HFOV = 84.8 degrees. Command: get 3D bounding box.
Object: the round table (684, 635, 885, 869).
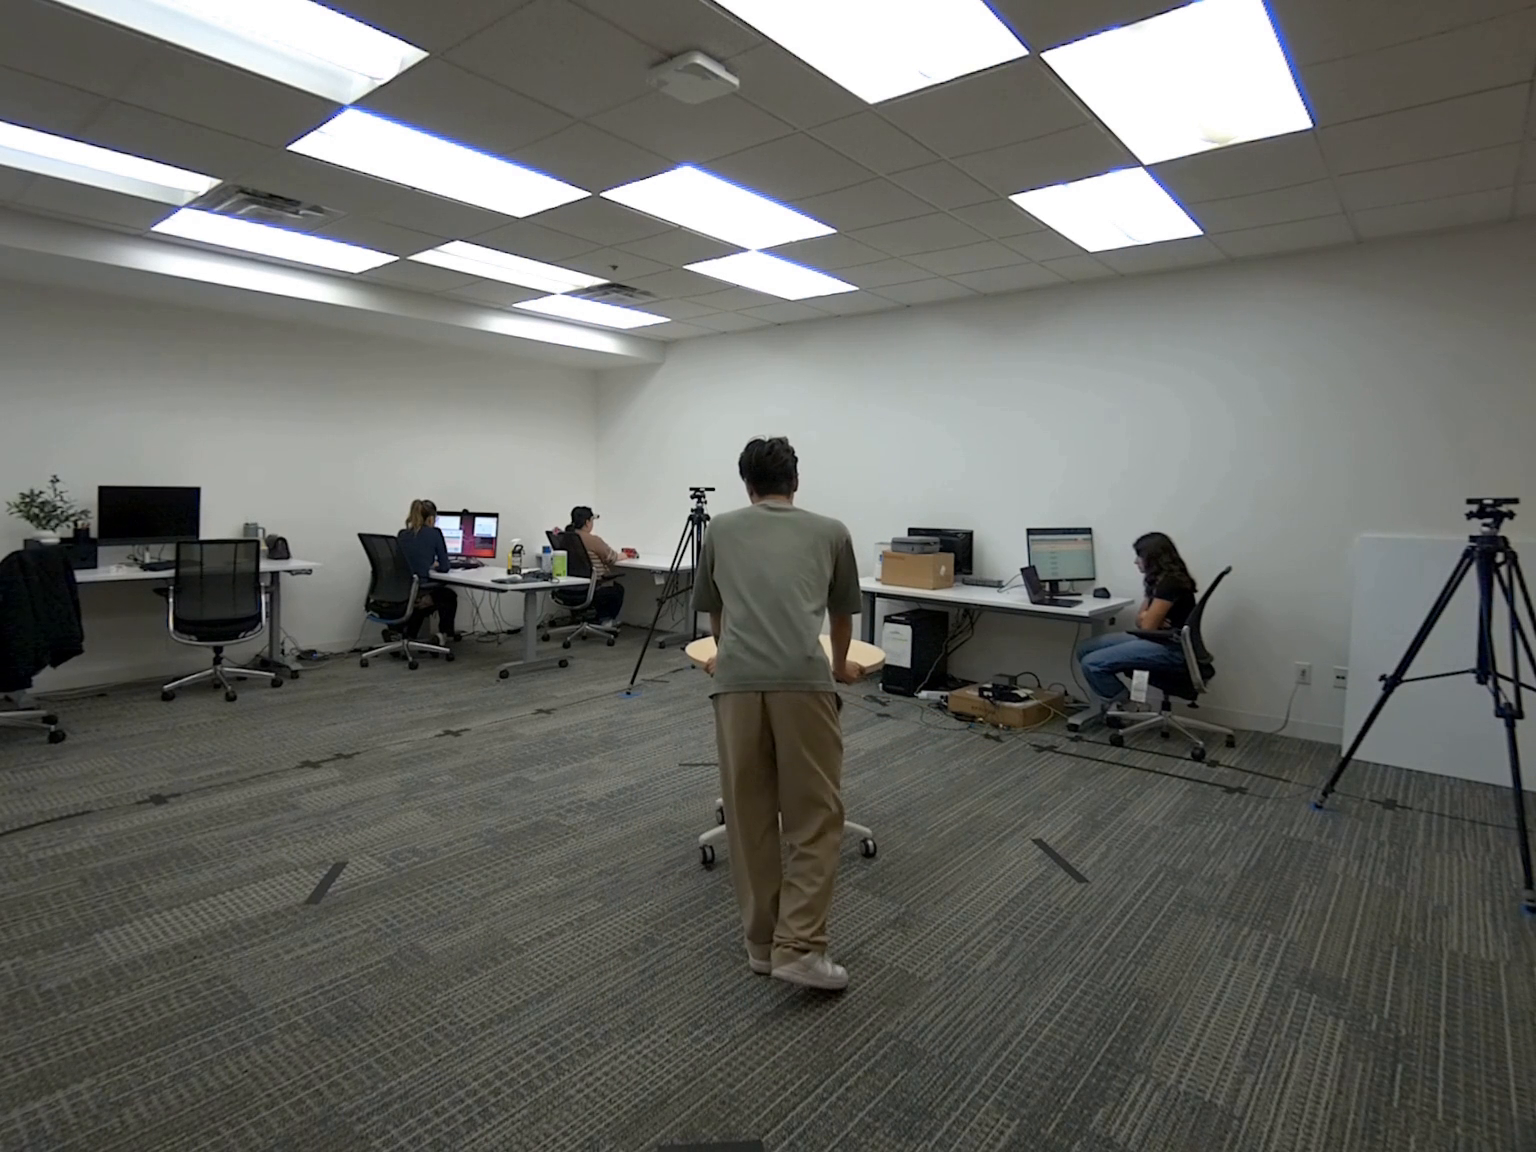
[{"bbox_3d":[0.060,0.661,3.313,0.784,0.783,0.789,1,5,-2],"label":"round table"}]
